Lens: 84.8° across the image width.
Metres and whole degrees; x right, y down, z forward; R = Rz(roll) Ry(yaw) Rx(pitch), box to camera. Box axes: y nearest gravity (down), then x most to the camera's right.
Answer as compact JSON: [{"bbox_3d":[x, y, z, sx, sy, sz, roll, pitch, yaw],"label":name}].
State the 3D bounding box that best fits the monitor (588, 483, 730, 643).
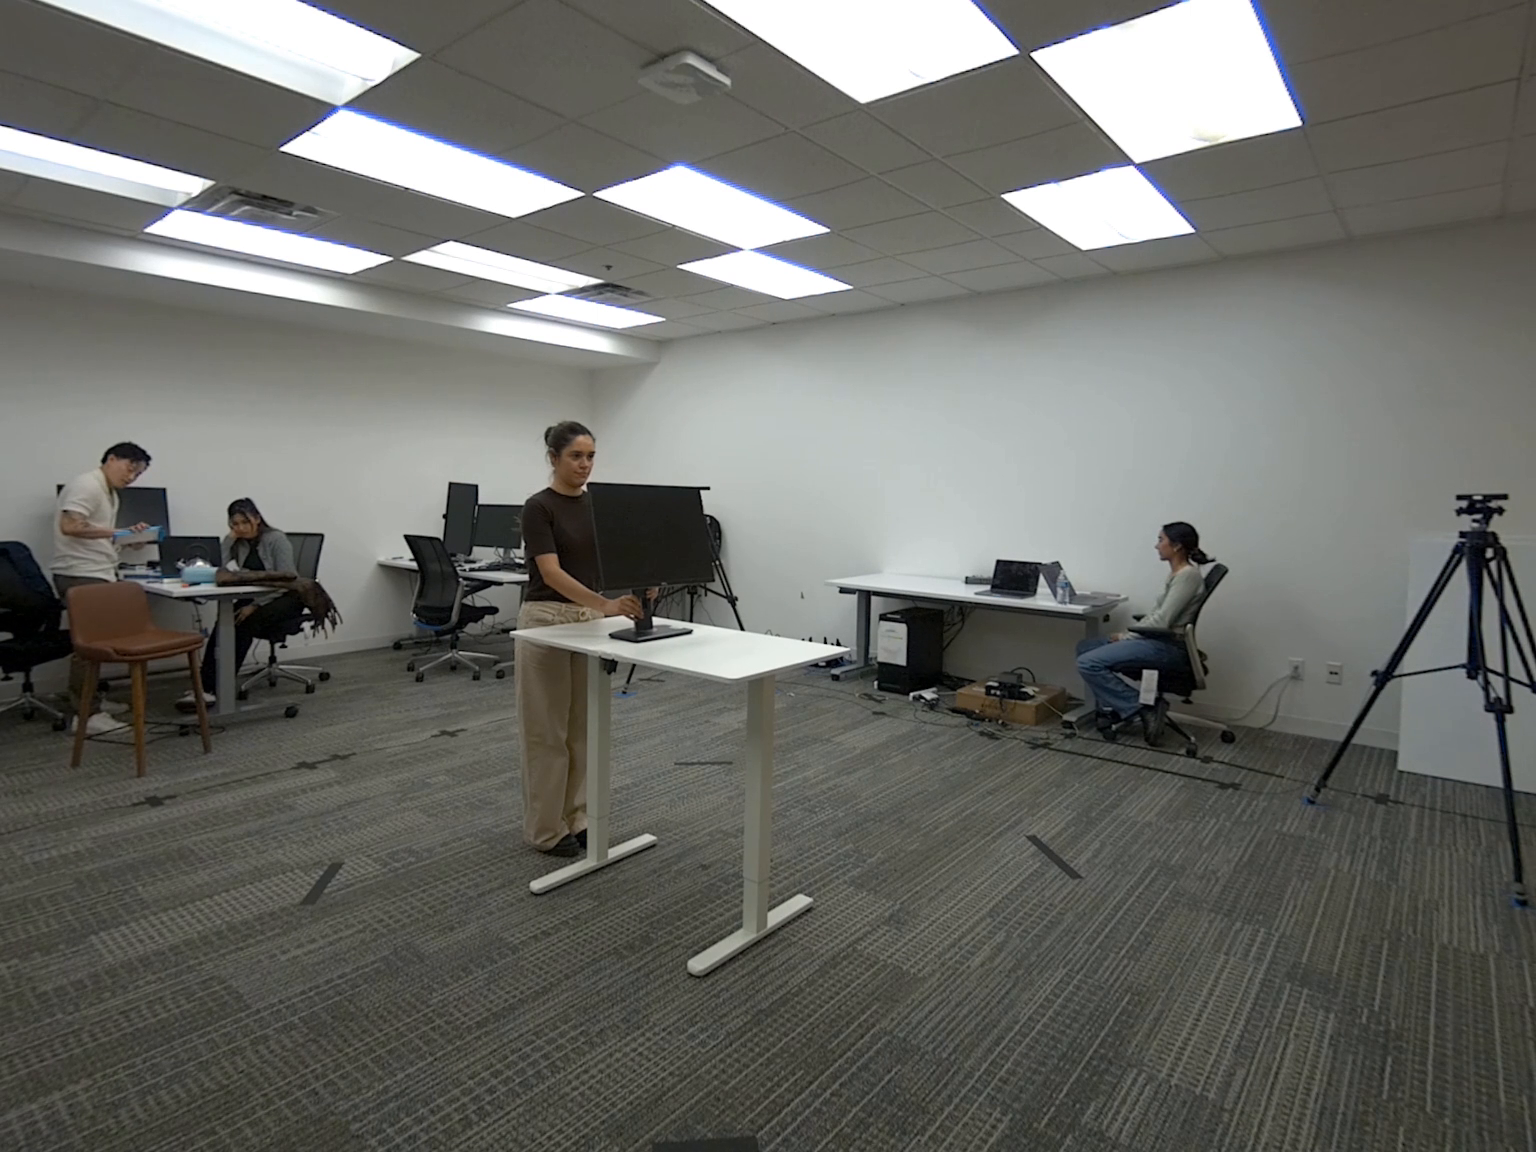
[{"bbox_3d":[-0.412,-0.056,2.893,0.180,0.514,0.514,7,5,37],"label":"monitor"}]
